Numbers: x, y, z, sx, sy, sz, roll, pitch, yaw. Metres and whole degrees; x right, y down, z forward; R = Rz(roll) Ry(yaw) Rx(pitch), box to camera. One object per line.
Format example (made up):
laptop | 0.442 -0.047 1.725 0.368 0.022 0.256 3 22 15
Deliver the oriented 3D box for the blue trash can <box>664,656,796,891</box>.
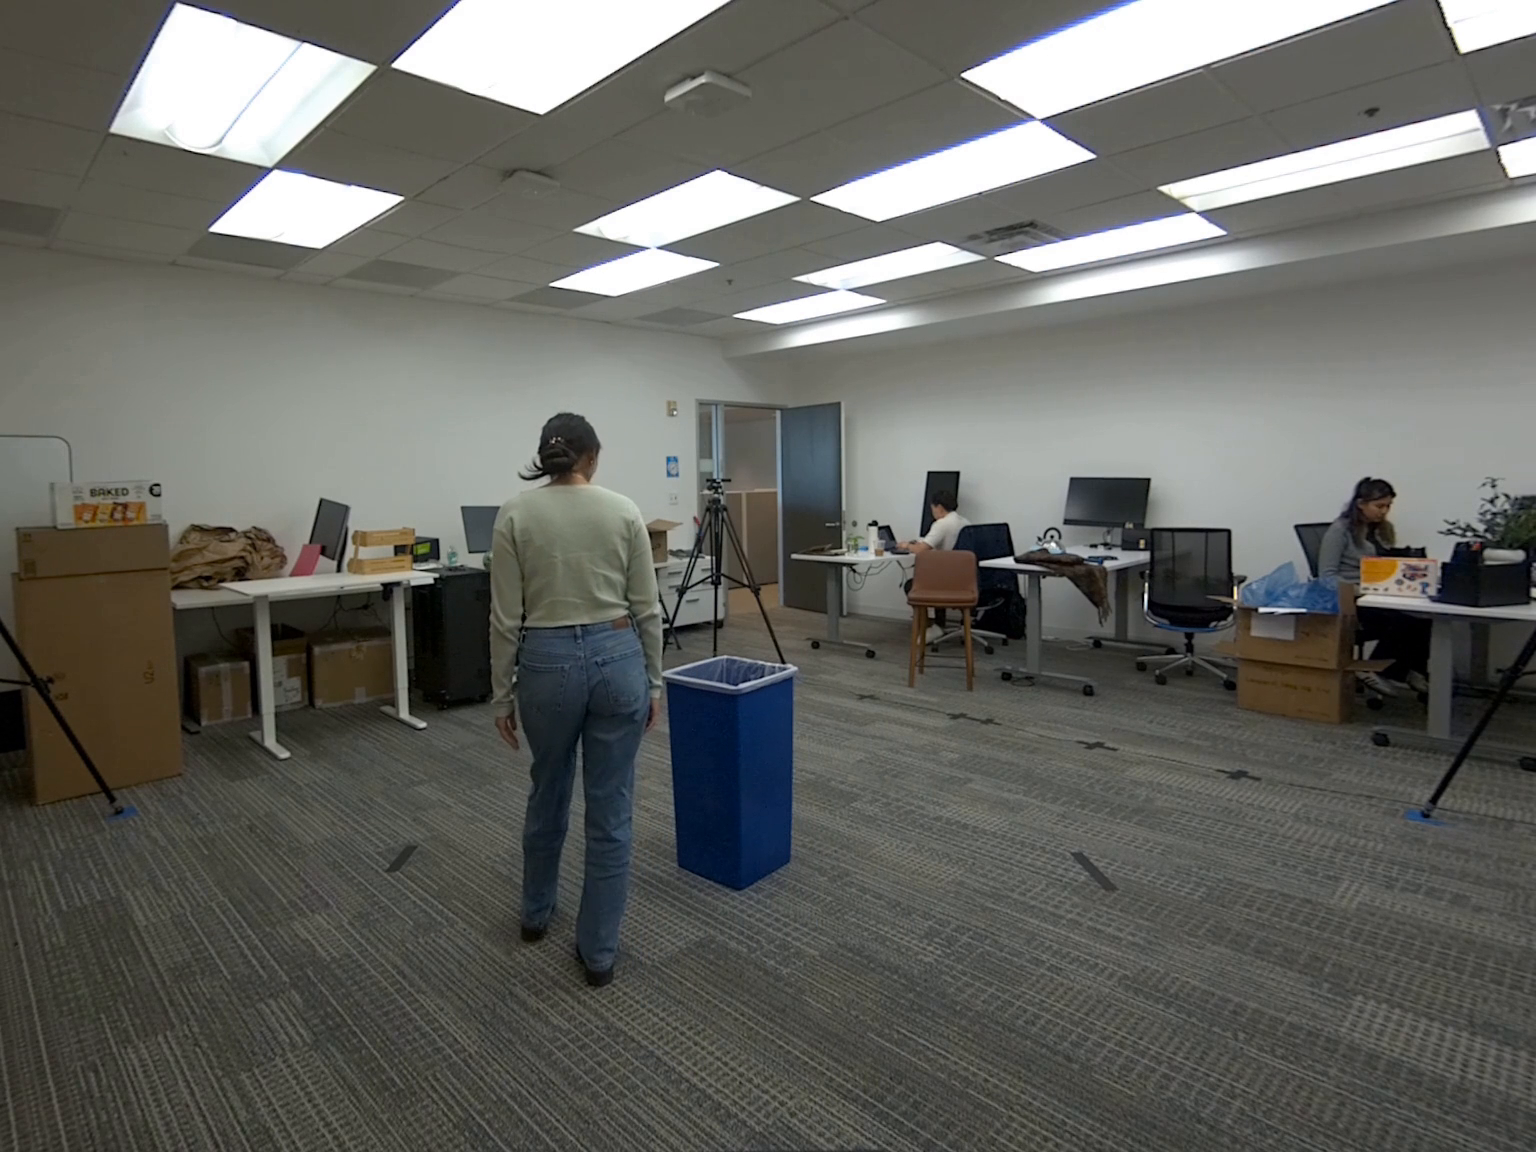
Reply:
blue trash can | -0.126 0.690 3.071 0.389 0.711 0.364 2 5 39
